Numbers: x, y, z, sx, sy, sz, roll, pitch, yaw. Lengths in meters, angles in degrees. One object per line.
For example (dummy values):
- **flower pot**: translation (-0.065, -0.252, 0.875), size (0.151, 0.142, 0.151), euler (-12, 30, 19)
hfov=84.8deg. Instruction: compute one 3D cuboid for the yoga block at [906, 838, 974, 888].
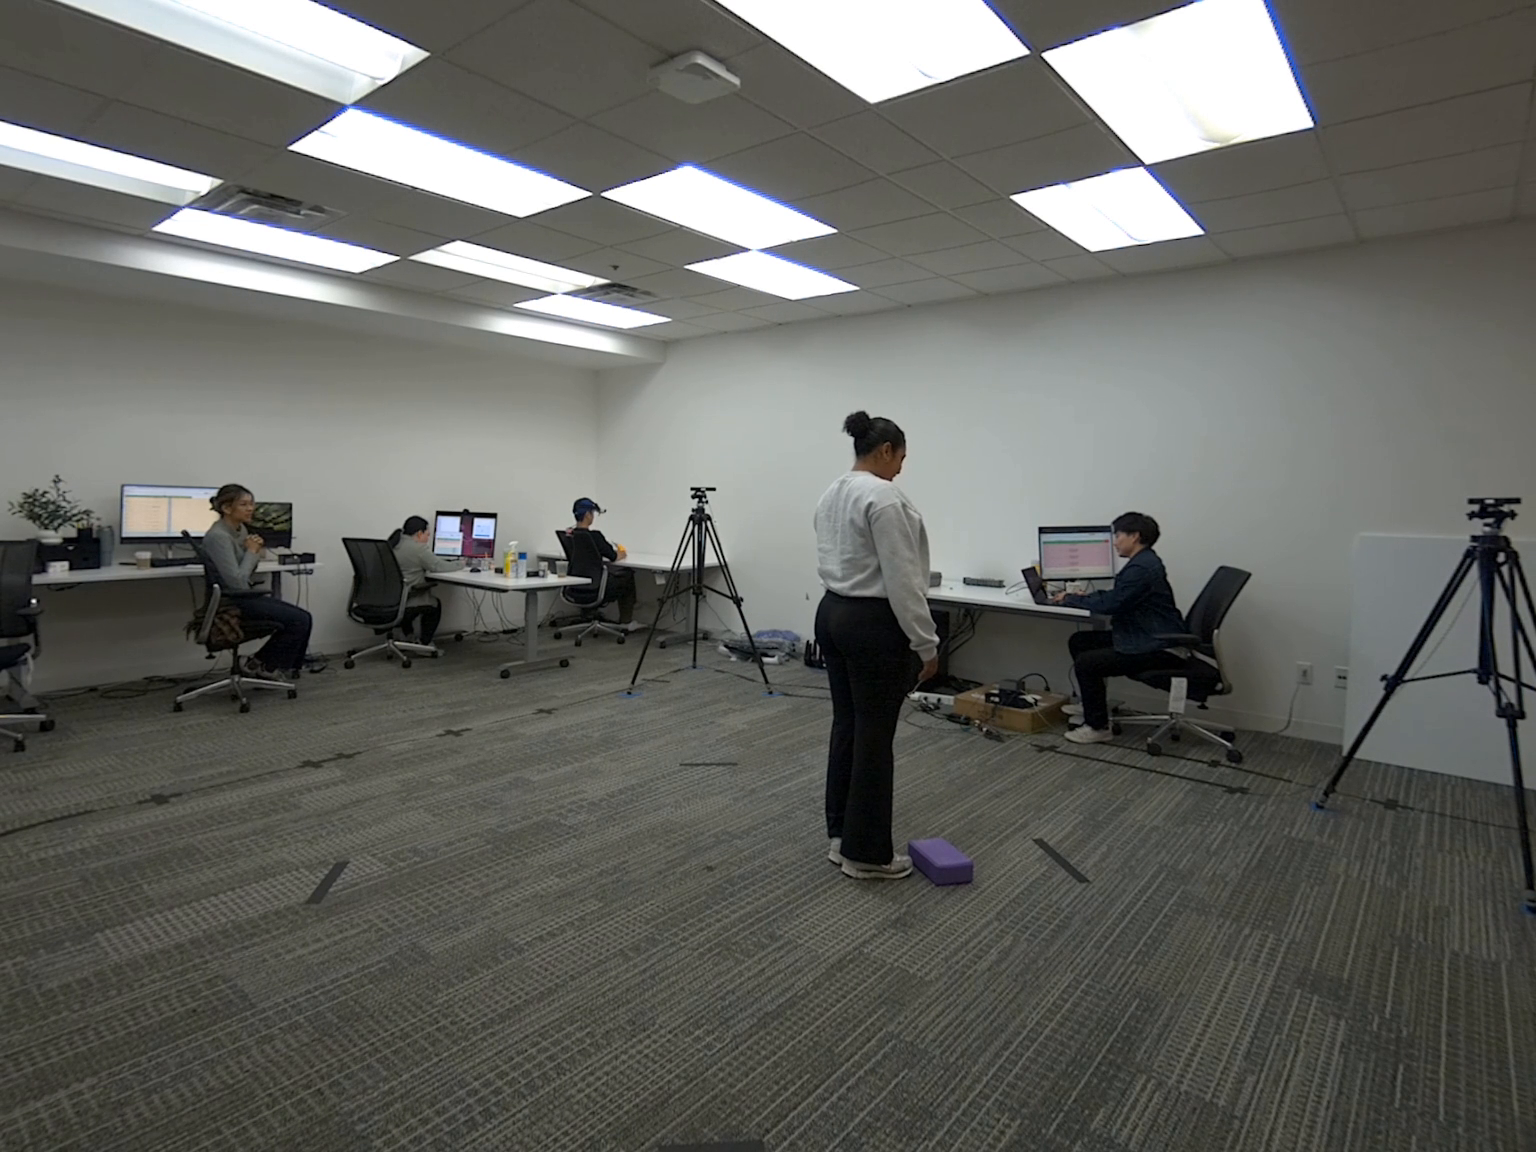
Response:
- **yoga block**: translation (0.625, 1.047, 3.129), size (0.146, 0.076, 0.234), euler (-1, 6, -16)
